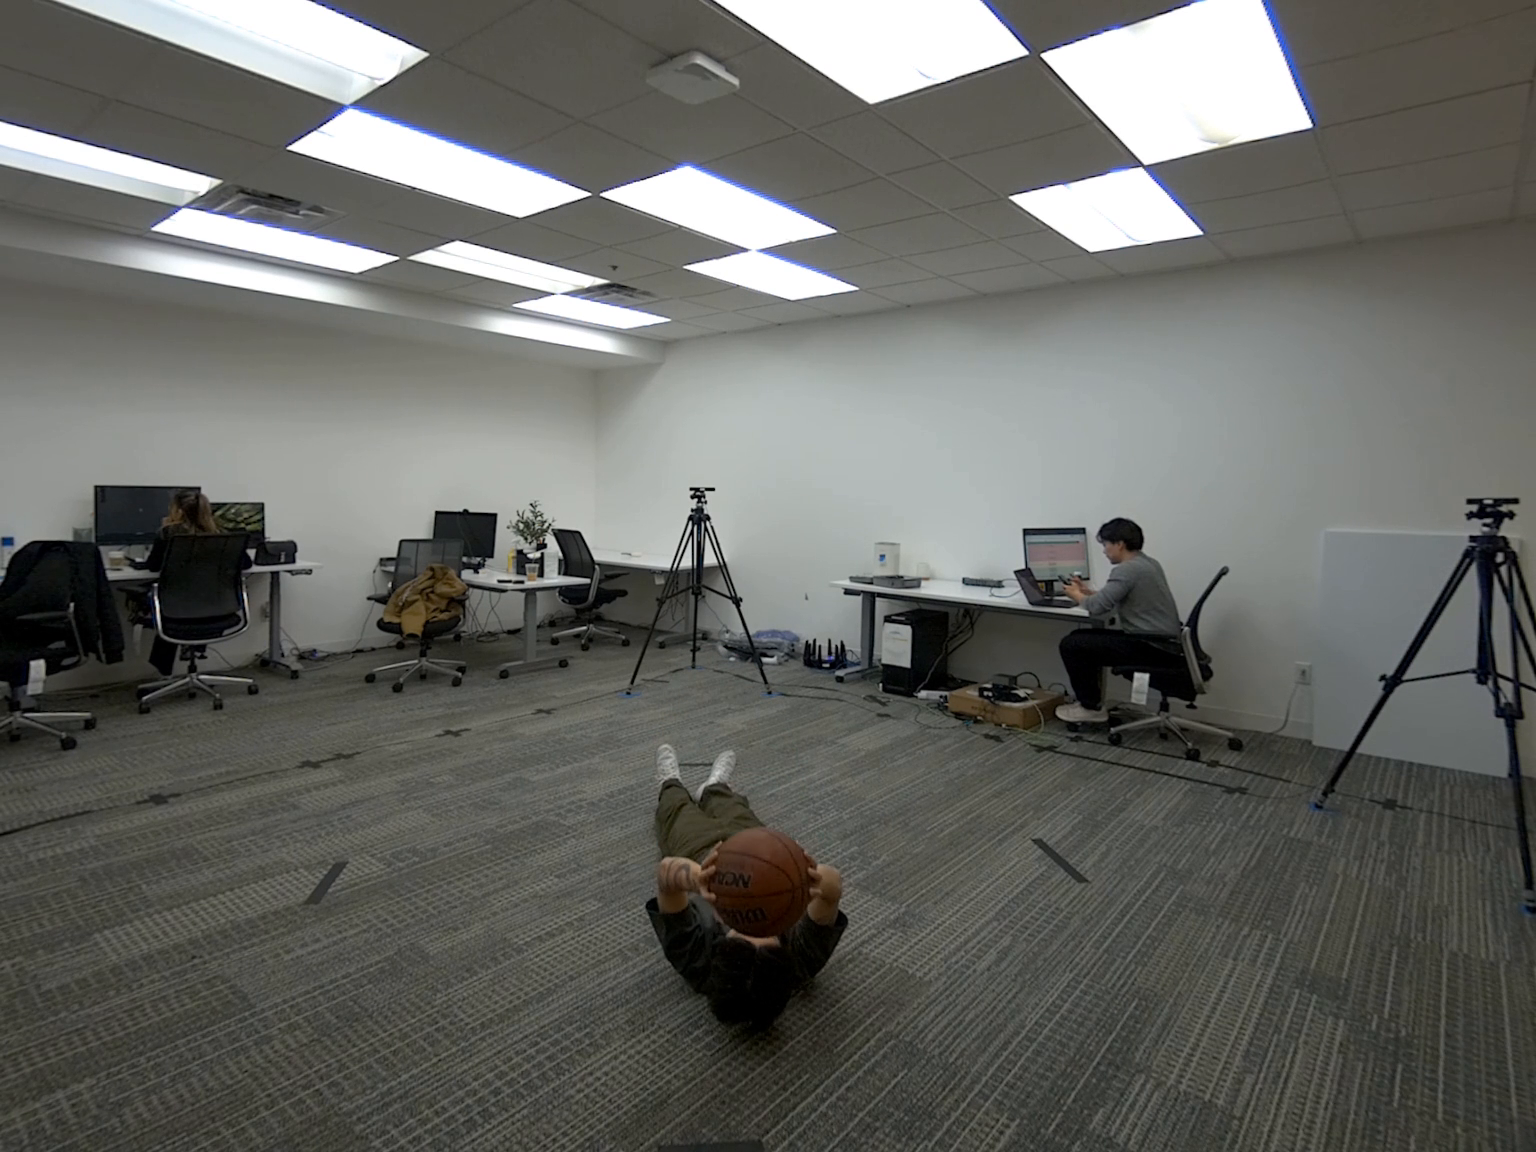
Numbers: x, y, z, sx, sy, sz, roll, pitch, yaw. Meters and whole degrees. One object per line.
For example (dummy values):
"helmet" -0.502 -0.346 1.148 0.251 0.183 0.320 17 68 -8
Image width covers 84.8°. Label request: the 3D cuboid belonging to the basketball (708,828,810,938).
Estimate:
"basketball" -0.027 0.705 1.983 0.235 0.235 0.237 1 4 -2
